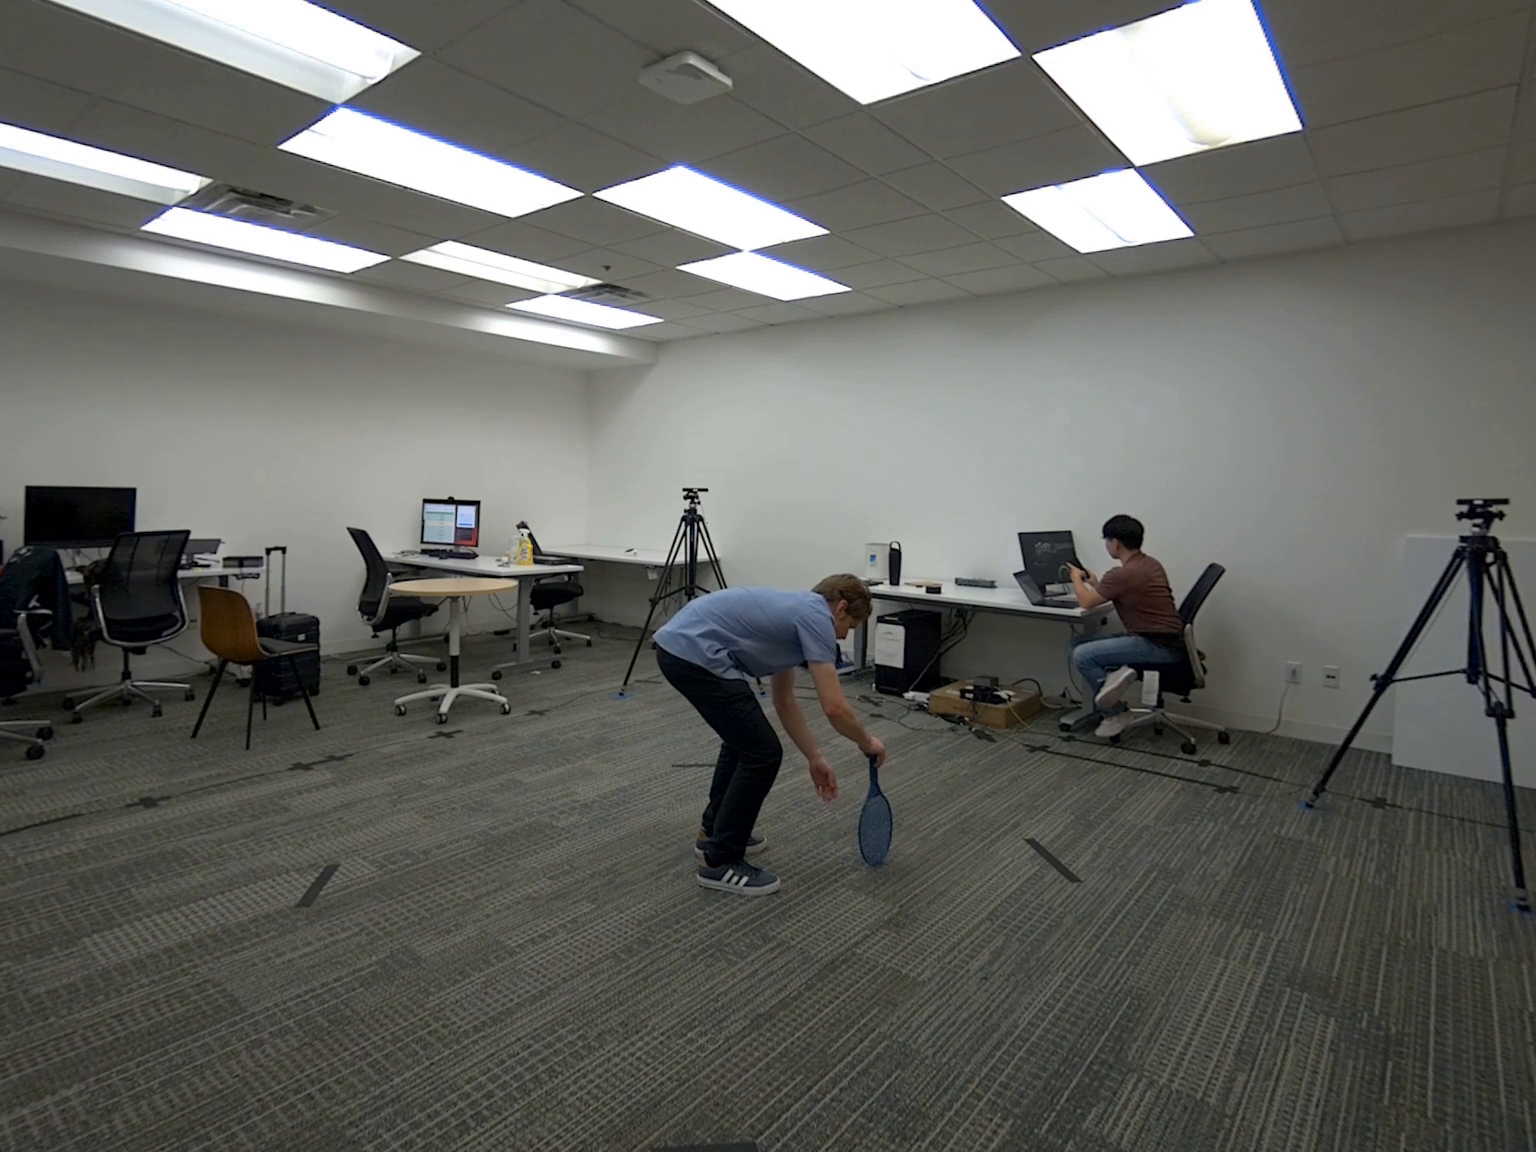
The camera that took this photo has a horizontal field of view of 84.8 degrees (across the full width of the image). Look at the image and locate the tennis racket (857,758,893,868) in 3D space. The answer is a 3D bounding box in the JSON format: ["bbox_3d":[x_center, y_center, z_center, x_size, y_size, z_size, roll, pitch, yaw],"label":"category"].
[{"bbox_3d":[0.390,0.861,3.175,0.033,0.432,0.207,-2,2,44],"label":"tennis racket"}]
